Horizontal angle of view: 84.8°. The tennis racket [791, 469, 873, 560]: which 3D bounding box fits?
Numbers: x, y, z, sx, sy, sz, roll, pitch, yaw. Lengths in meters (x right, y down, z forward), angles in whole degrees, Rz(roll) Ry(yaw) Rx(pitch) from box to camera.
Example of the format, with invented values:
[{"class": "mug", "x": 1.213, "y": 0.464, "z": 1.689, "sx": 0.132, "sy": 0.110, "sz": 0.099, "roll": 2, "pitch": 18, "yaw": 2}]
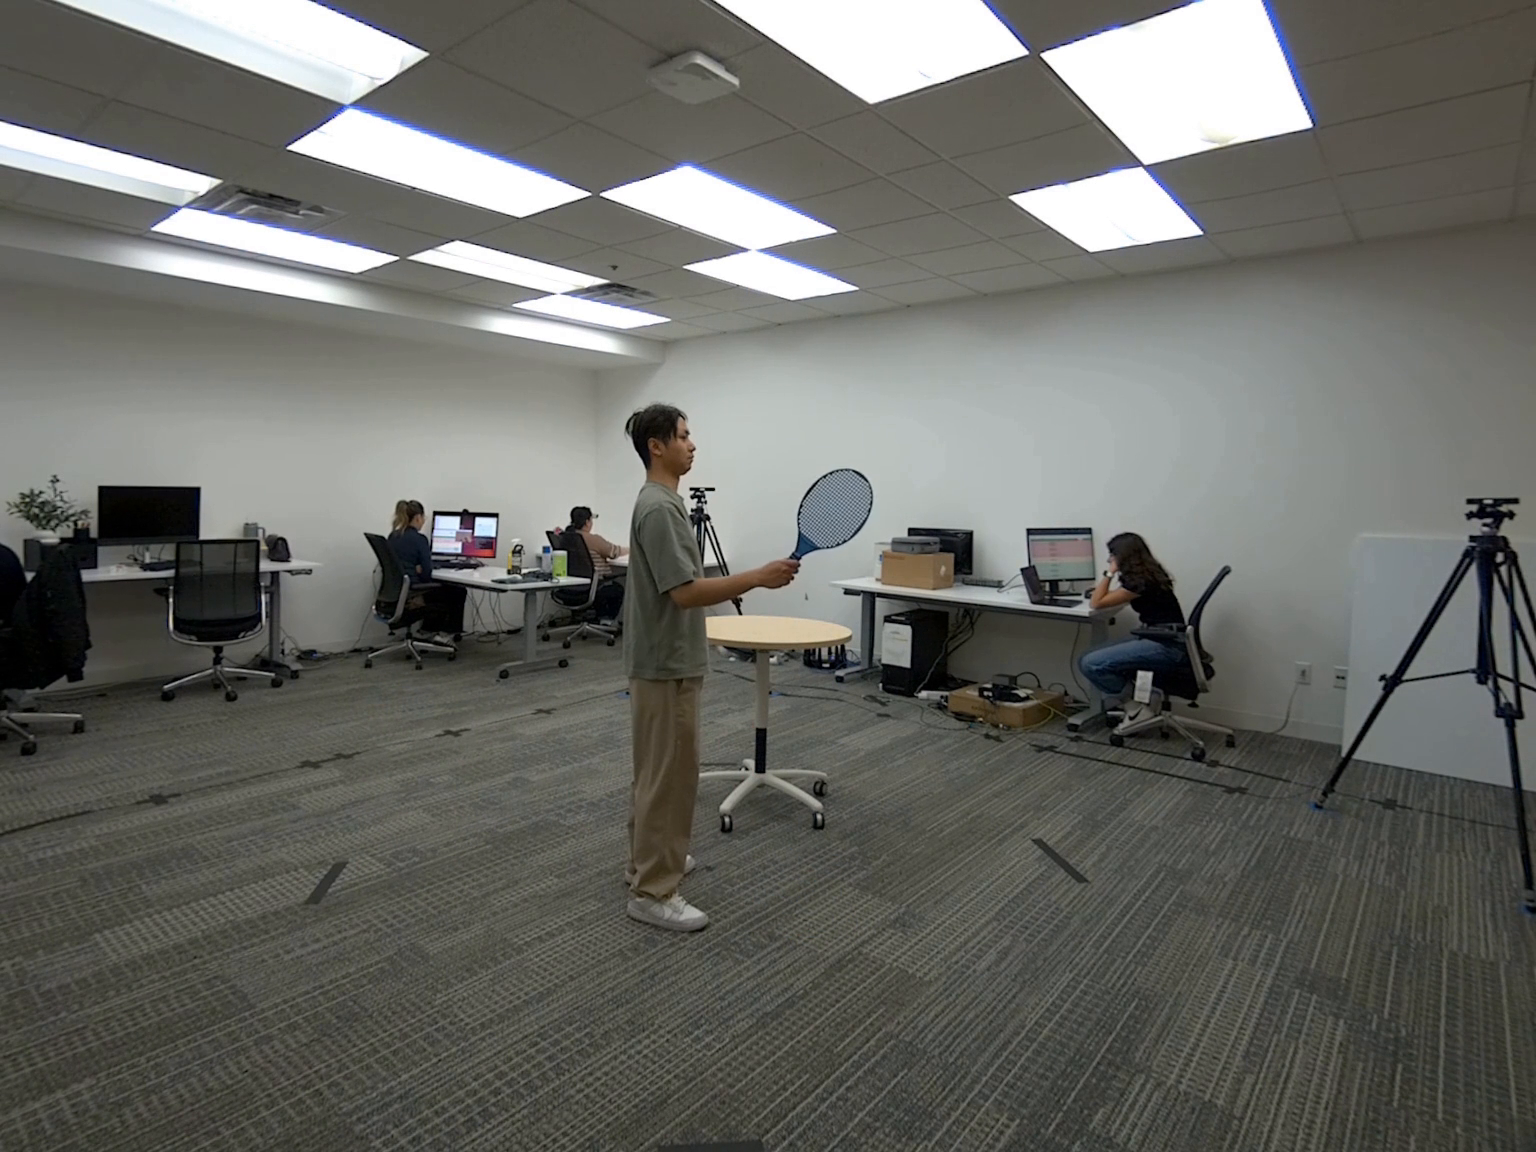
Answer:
[{"class": "tennis racket", "x": 0.142, "y": -0.123, "z": 2.591, "sx": 0.221, "sy": 0.432, "sz": 0.031, "roll": 41, "pitch": 8, "yaw": 24}]
